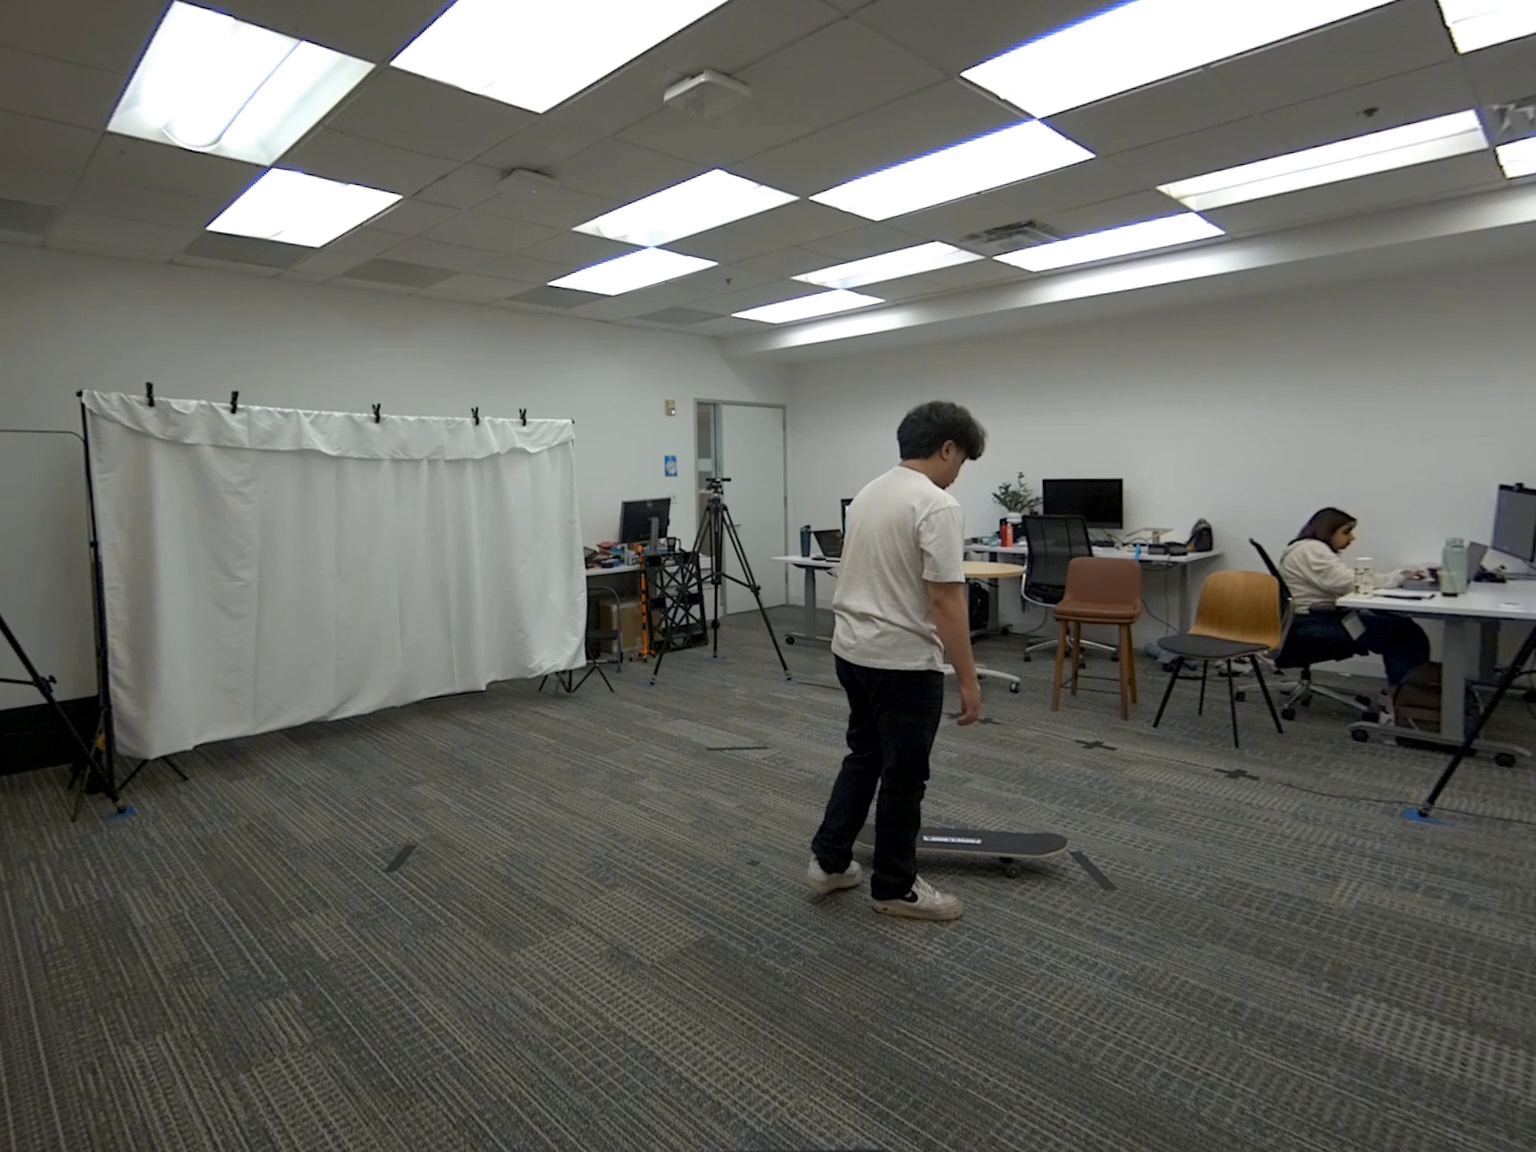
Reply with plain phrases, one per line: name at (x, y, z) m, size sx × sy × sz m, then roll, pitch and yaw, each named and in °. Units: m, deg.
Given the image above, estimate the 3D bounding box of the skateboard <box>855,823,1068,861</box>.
skateboard at (0.664, 0.980, 3.071) m, size 0.793 × 0.110 × 0.192 m, roll 0°, pitch 5°, yaw 10°
